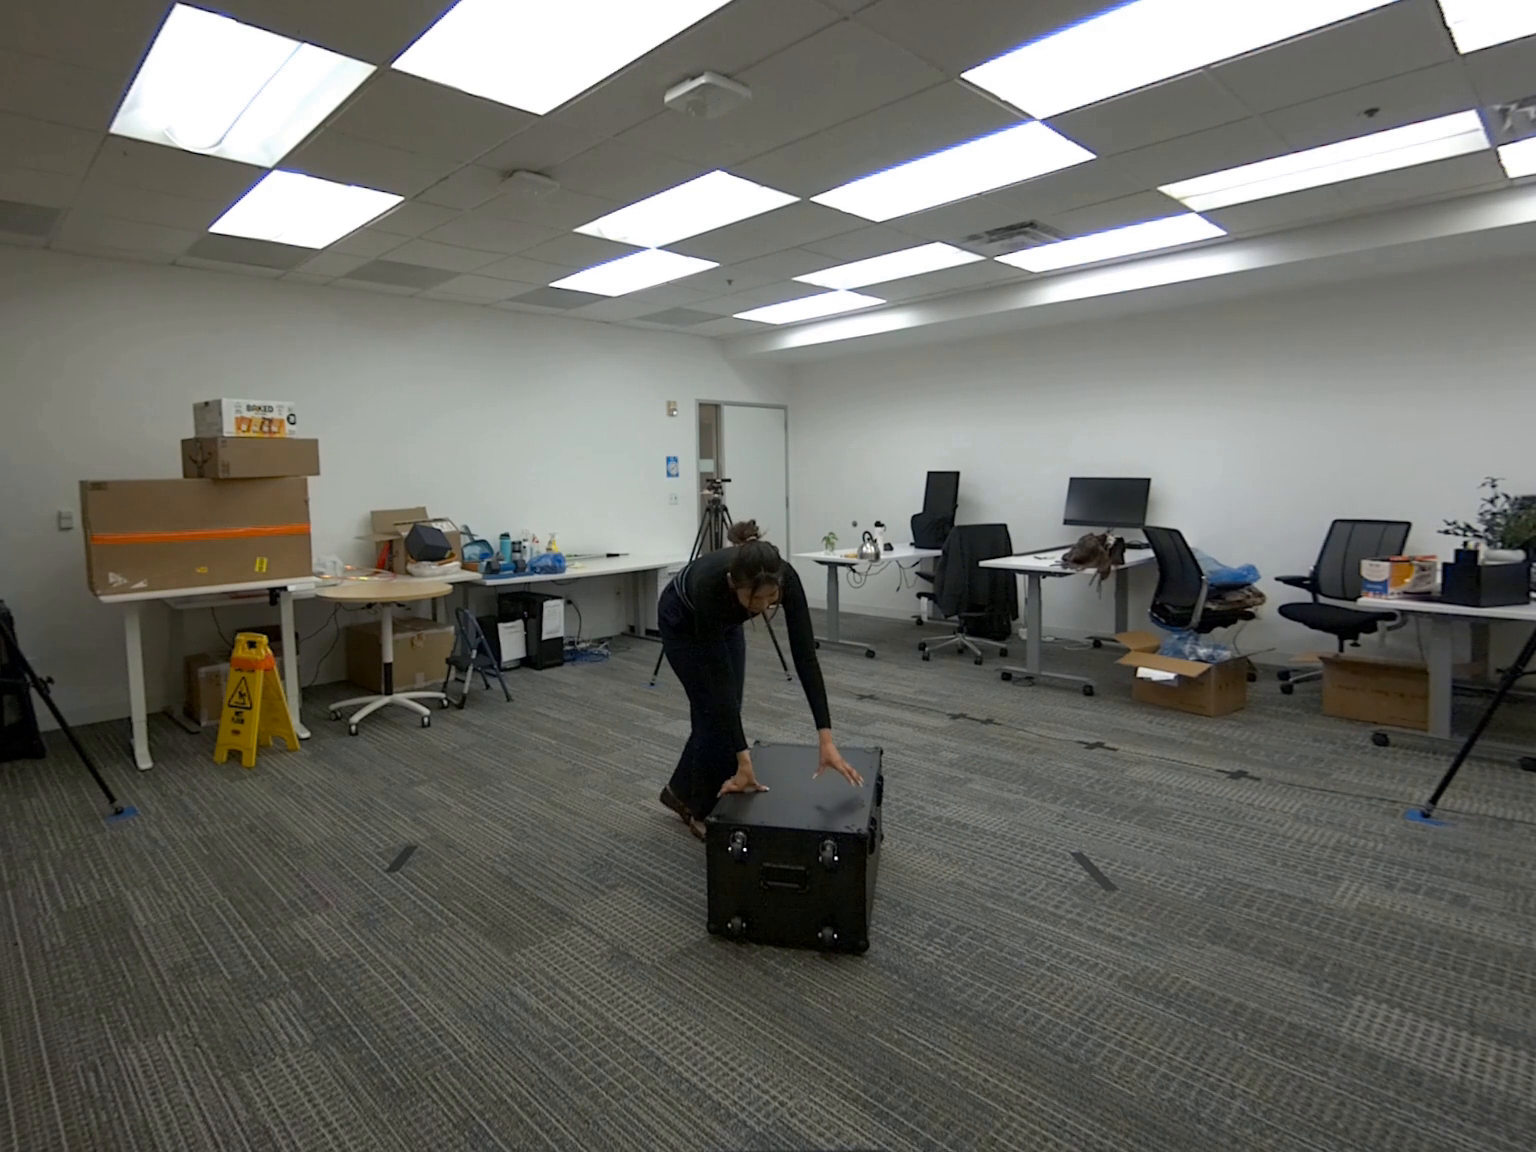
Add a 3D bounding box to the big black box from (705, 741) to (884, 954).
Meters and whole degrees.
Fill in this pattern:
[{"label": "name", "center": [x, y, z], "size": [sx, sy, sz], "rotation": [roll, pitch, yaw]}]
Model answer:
[{"label": "big black box", "center": [0.115, 0.873, 2.859], "size": [0.528, 0.395, 0.854], "rotation": [0, 5, 12]}]
